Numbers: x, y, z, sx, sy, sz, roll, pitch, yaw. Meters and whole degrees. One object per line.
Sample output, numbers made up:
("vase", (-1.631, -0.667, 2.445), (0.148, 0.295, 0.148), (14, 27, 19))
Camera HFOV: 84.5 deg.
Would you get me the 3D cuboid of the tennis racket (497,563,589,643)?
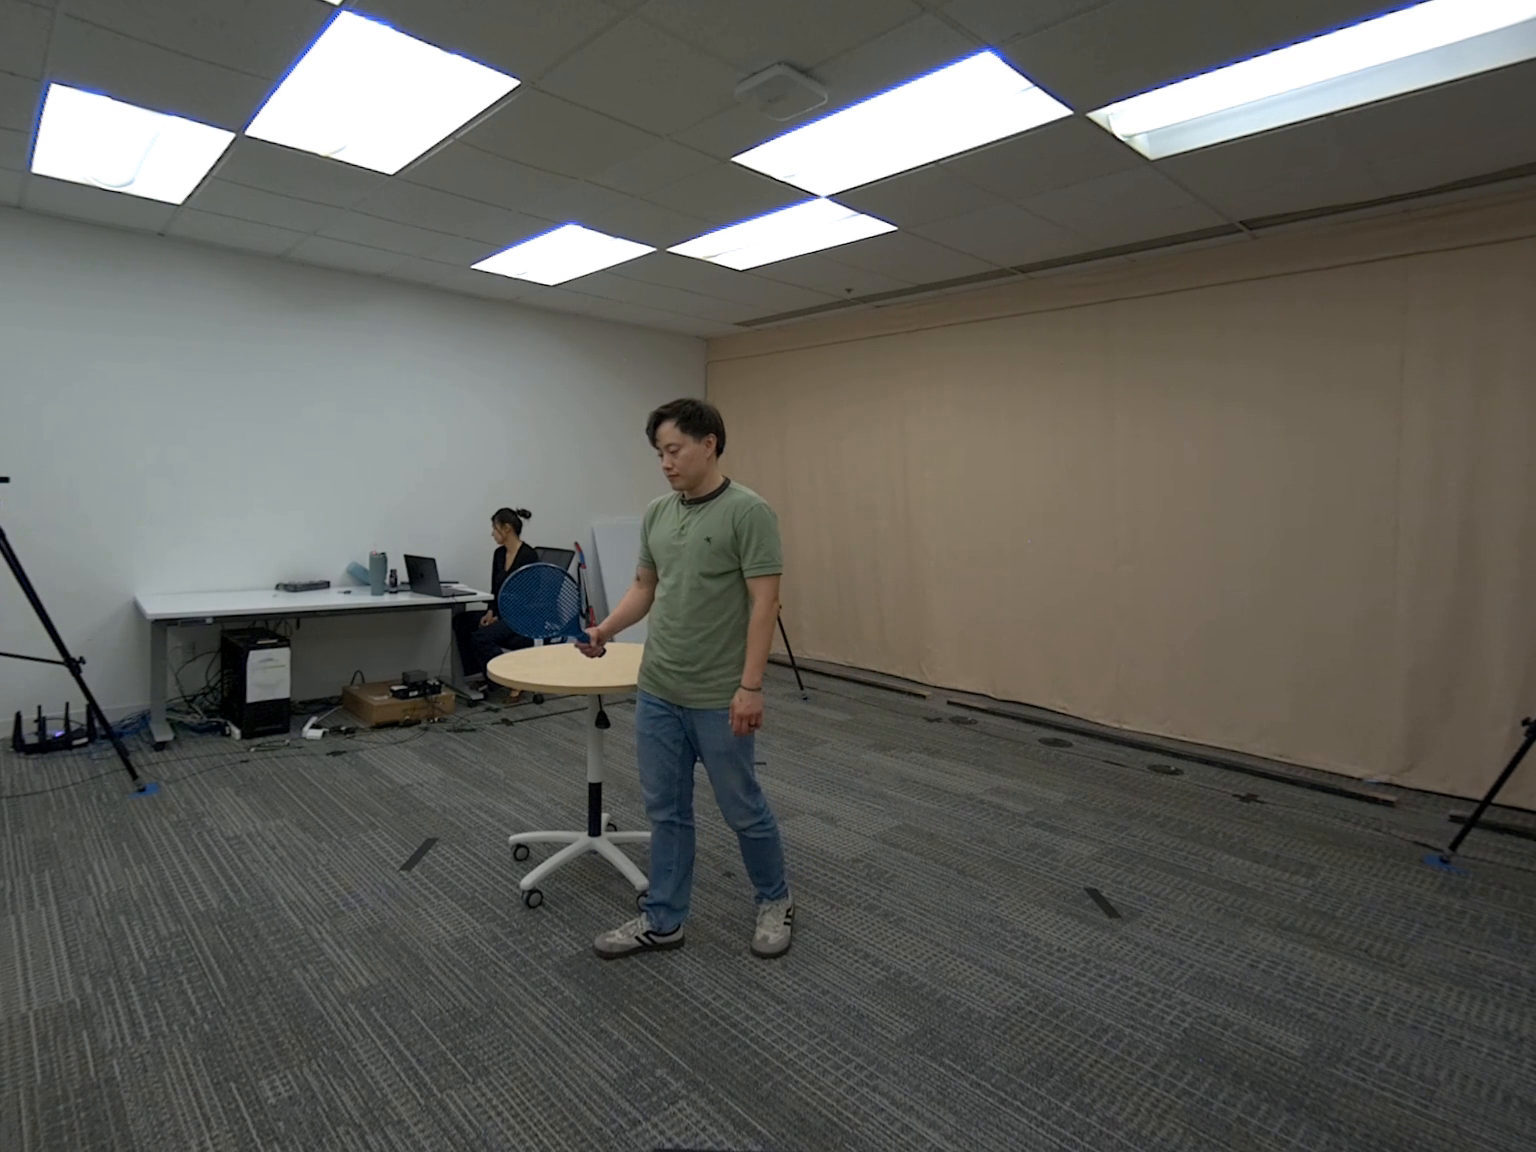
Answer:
("tennis racket", (-0.578, 0.122, 2.352), (0.033, 0.214, 0.419), (35, -12, 45))
